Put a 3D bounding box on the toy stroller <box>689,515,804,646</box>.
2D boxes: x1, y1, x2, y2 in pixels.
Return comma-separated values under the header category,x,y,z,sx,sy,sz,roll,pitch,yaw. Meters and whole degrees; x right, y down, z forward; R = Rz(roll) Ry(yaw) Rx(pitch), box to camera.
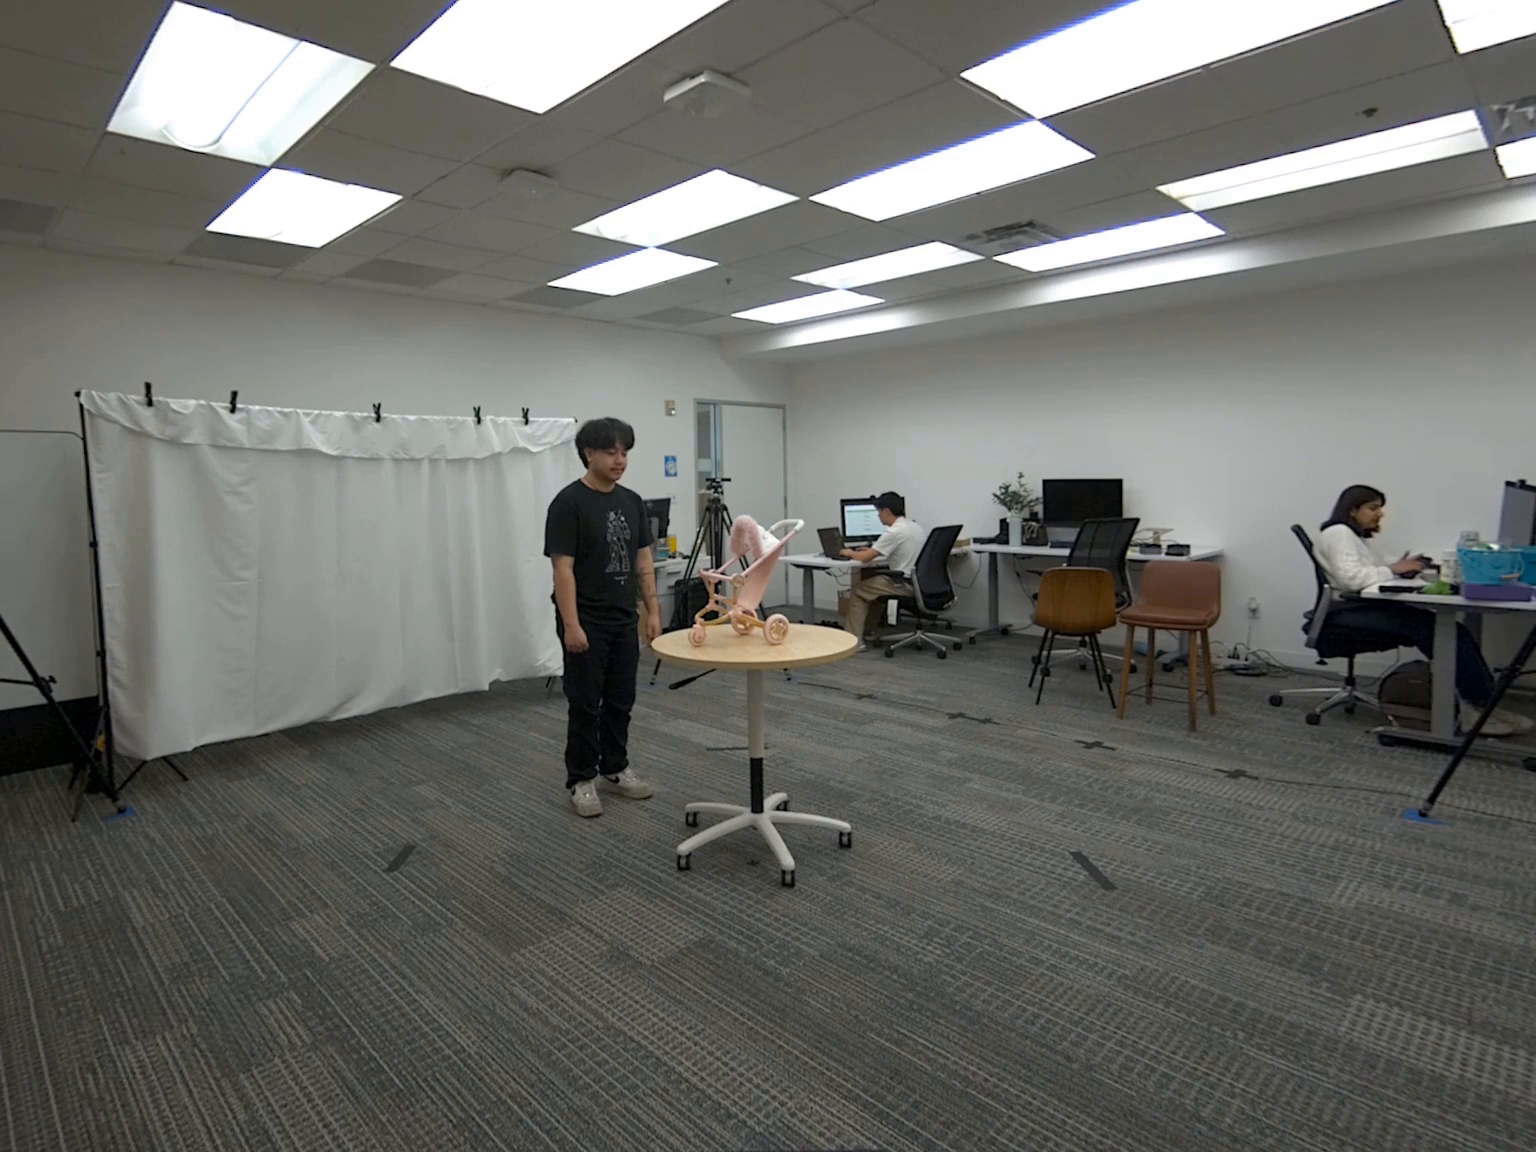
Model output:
category,x,y,z,sx,sy,sz,roll,pitch,yaw
toy stroller,-0.094,0.017,3.159,0.333,0.536,0.288,12,-2,-23
